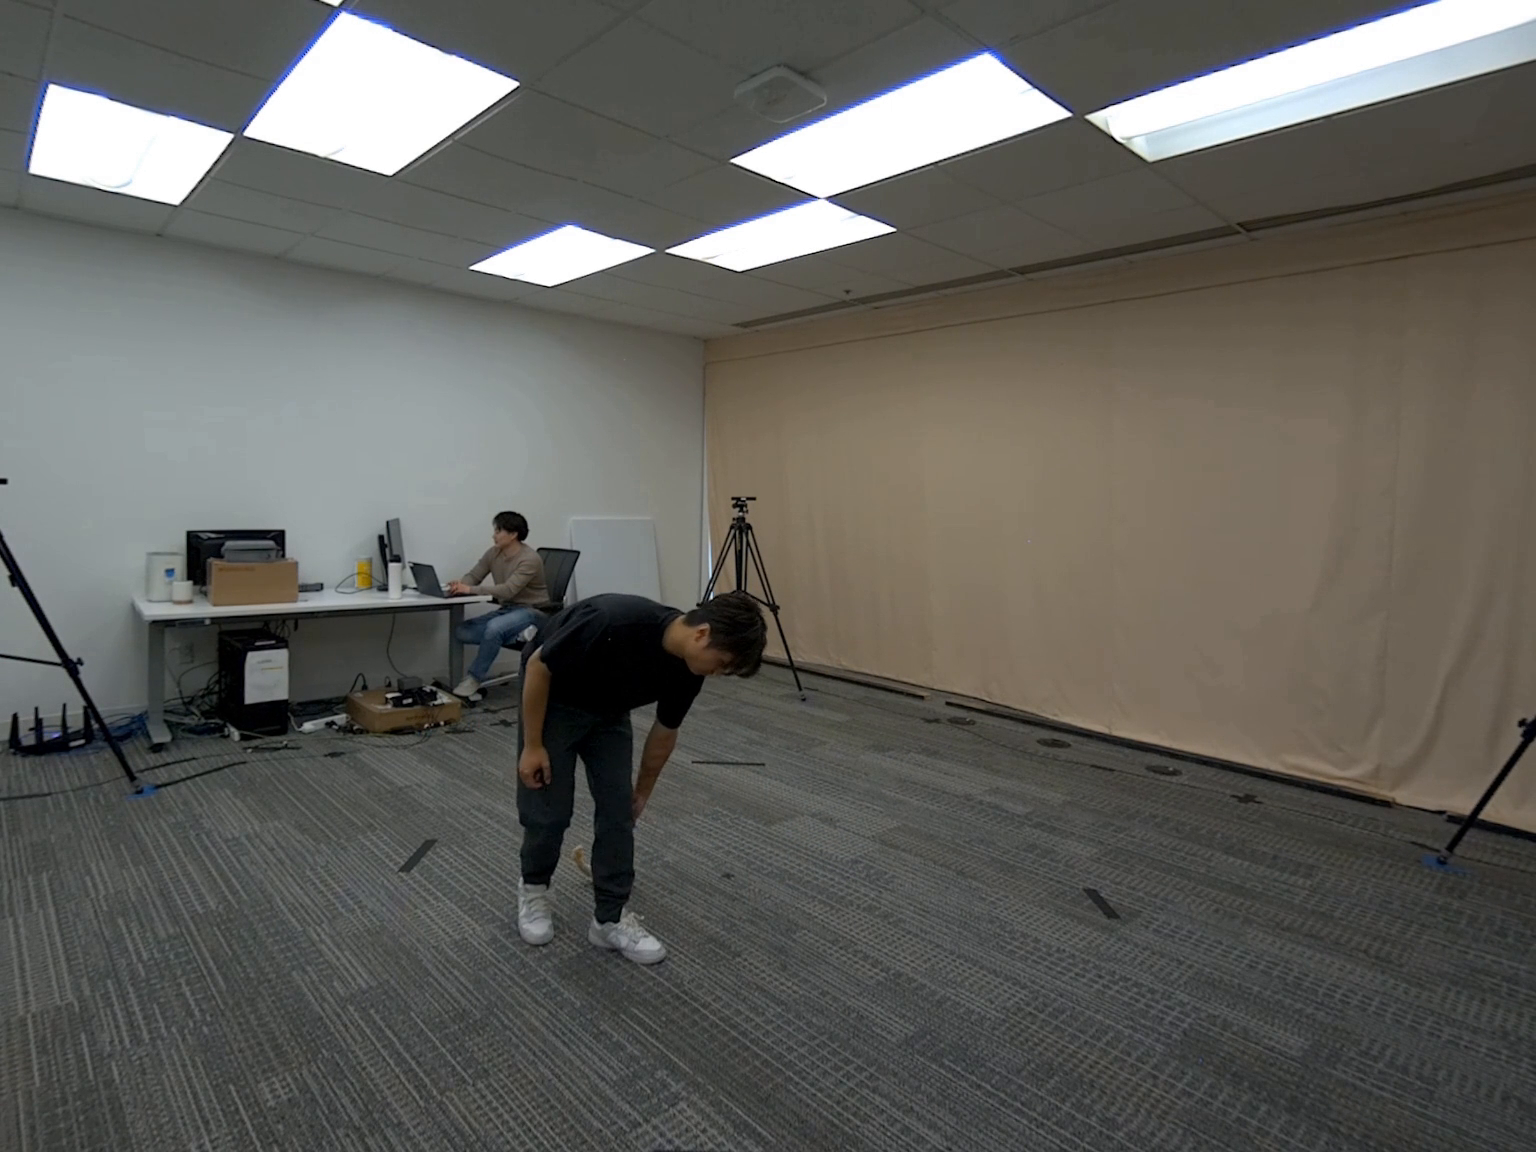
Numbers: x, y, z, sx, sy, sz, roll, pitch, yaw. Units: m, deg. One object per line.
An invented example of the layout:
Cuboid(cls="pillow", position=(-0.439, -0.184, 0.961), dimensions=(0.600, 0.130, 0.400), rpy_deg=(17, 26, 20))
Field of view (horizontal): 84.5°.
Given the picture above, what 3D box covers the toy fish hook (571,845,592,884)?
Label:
Cuboid(cls="toy fish hook", position=(-0.558, 0.923, 2.872), dimensions=(0.223, 0.499, 0.049), rpy_deg=(11, 41, -6))
